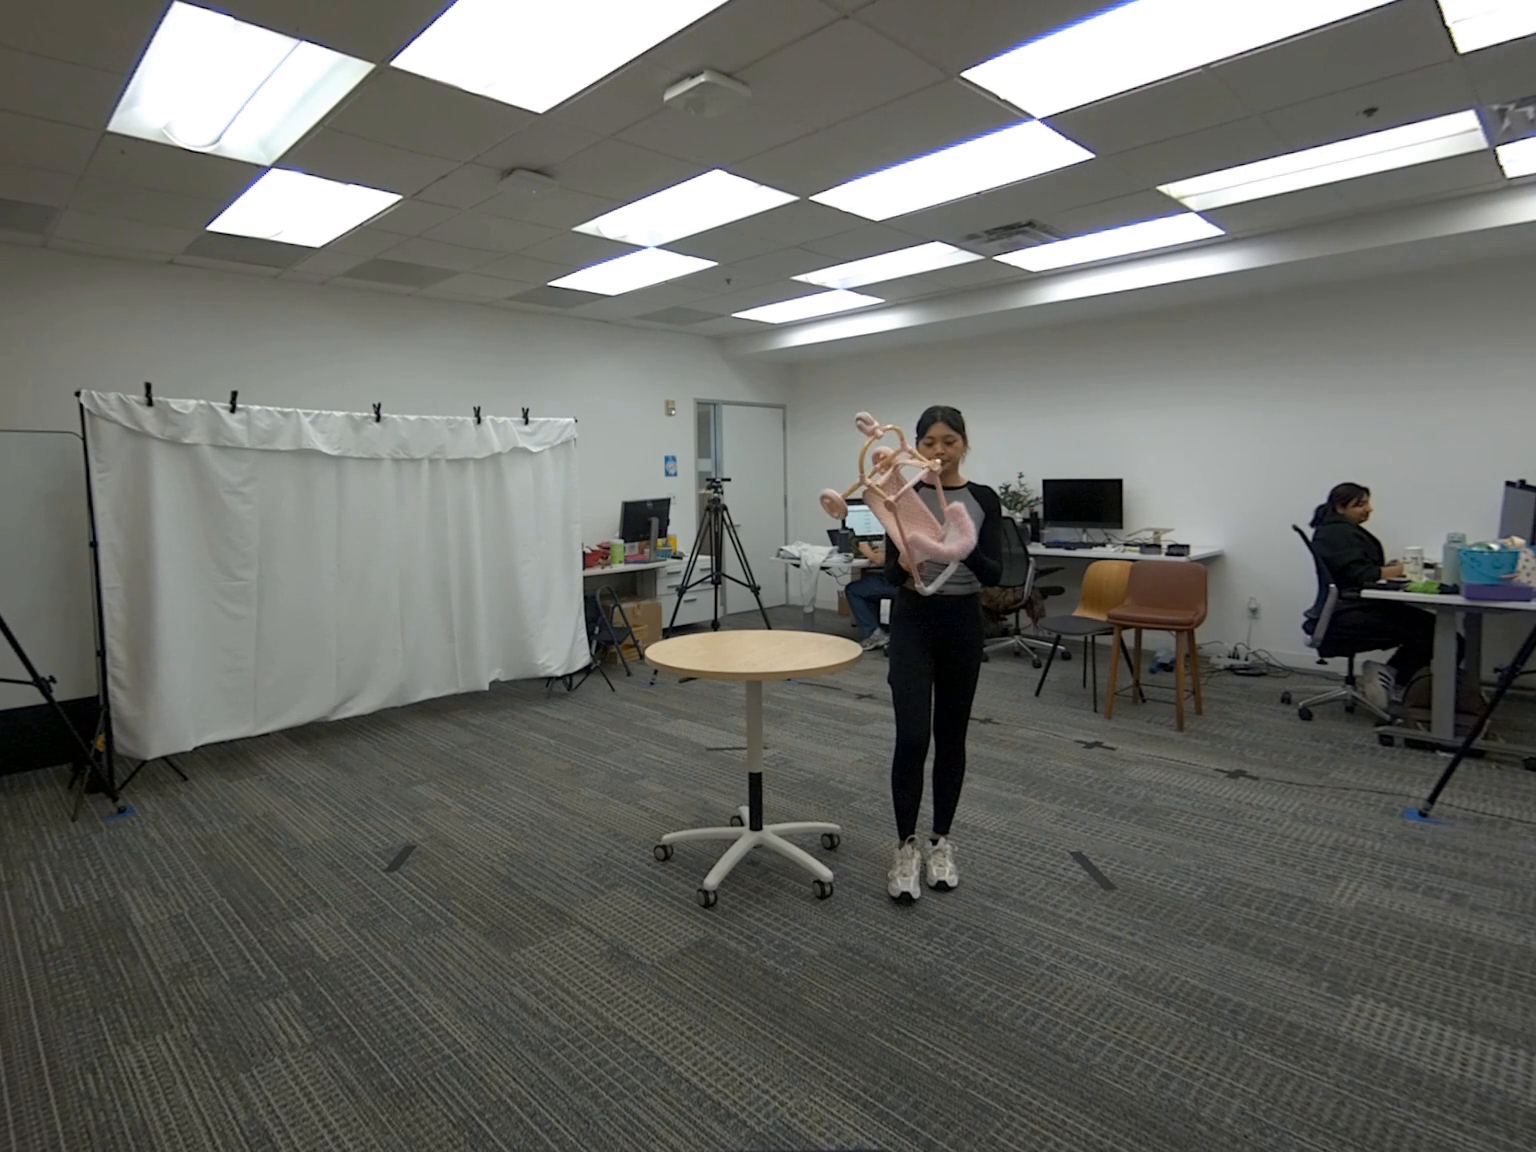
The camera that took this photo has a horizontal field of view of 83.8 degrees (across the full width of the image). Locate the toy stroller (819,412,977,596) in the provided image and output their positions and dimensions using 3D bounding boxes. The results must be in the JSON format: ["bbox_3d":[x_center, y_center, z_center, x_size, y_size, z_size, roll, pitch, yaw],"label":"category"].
[{"bbox_3d":[0.420,-0.224,2.573,0.279,0.544,0.338,-36,-13,-28],"label":"toy stroller"}]
